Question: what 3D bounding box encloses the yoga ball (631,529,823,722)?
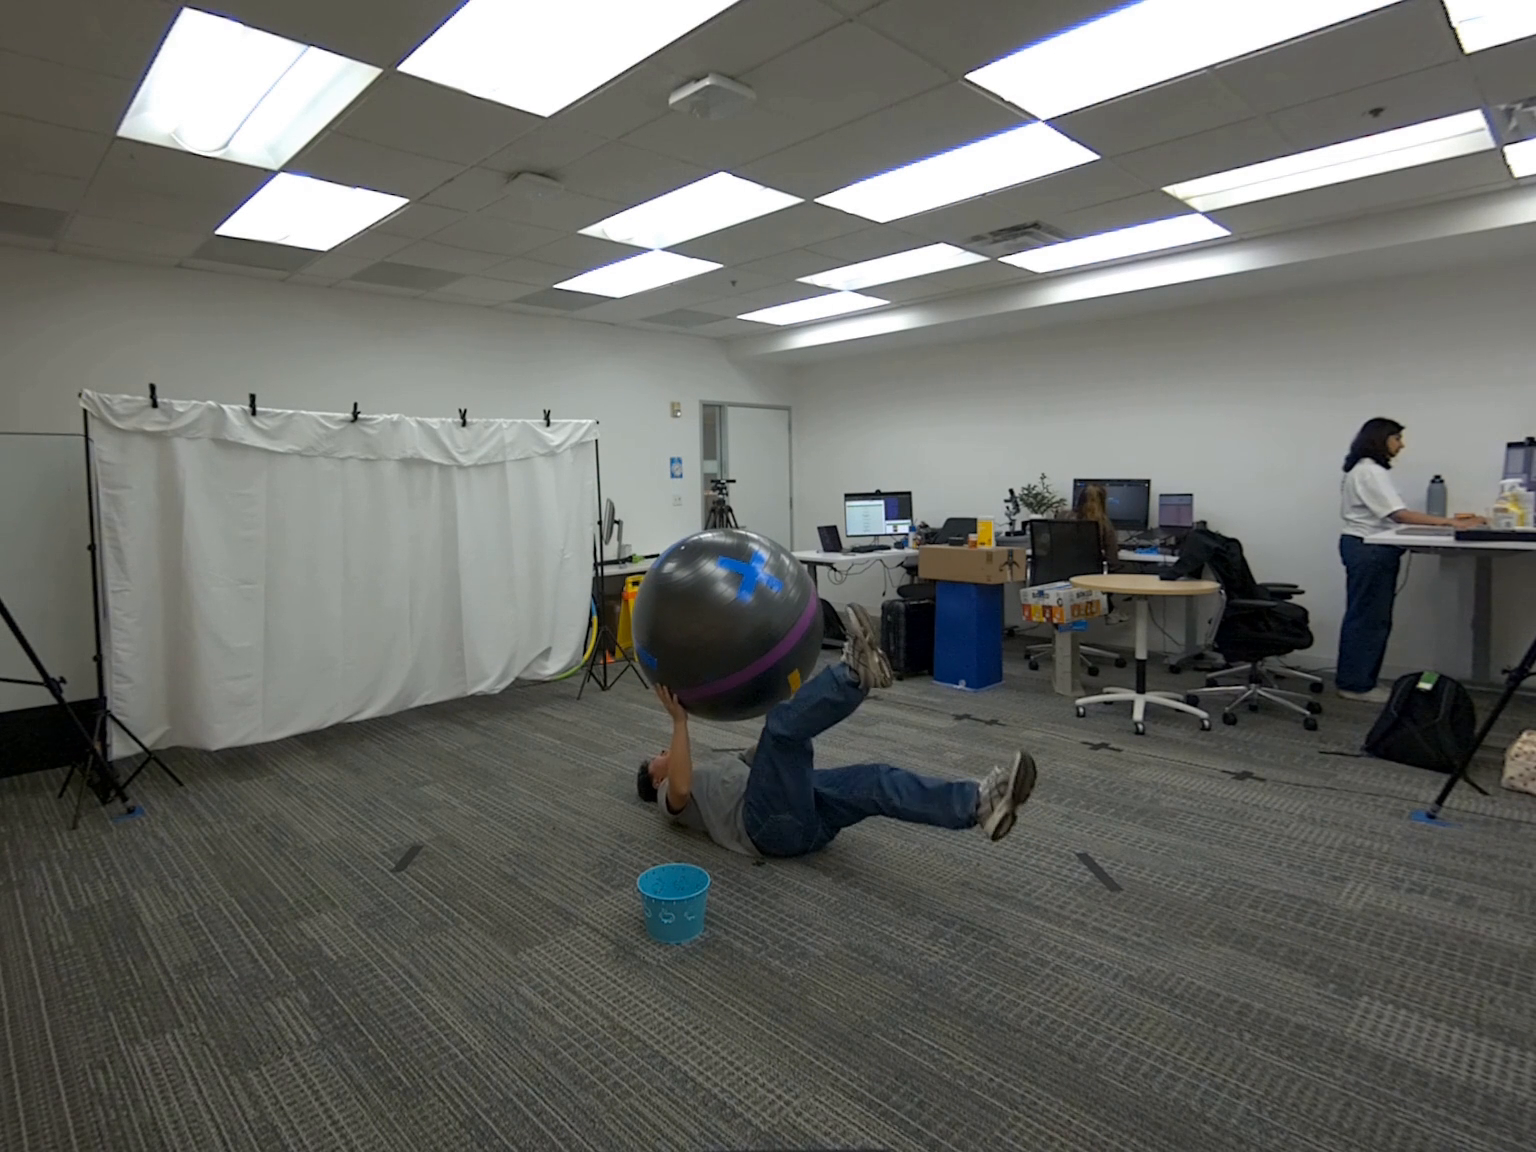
[{"bbox_3d":[-0.172,0.198,3.386,0.757,0.755,0.762,-1,5,-2],"label":"yoga ball"}]
